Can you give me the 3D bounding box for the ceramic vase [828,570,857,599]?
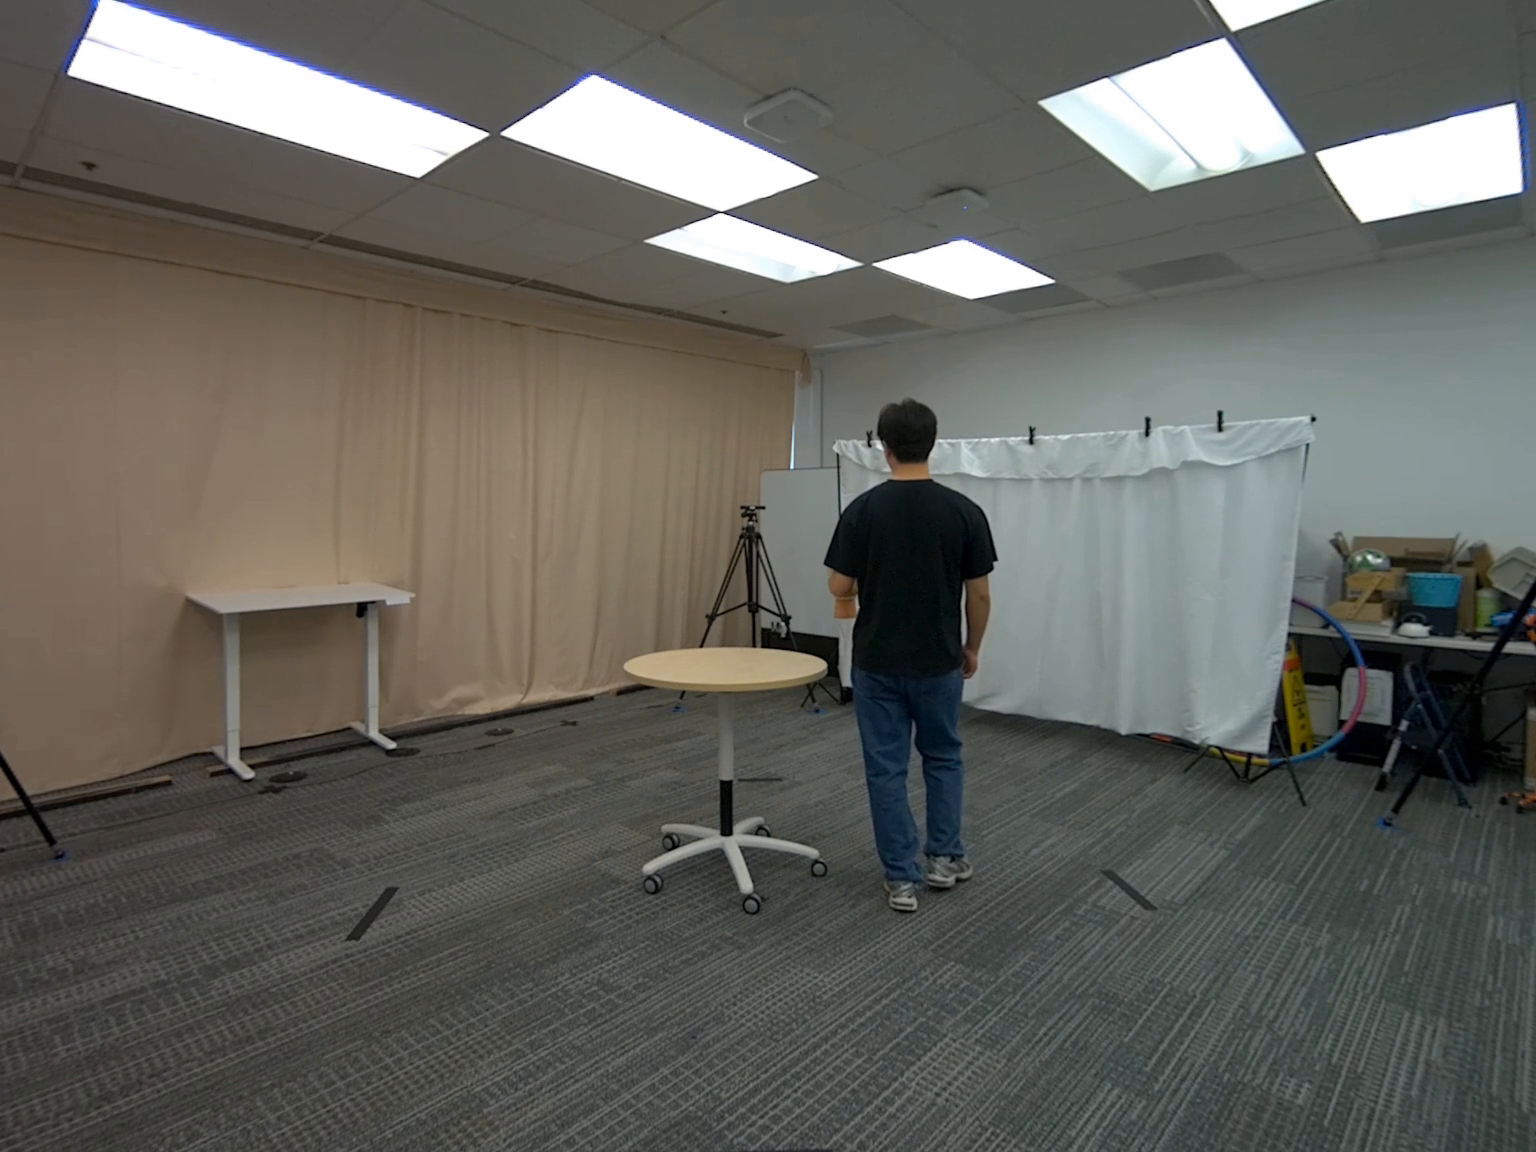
[{"bbox_3d":[0.316,0.058,3.444,0.154,0.219,0.139,-3,2,-38],"label":"ceramic vase"}]
